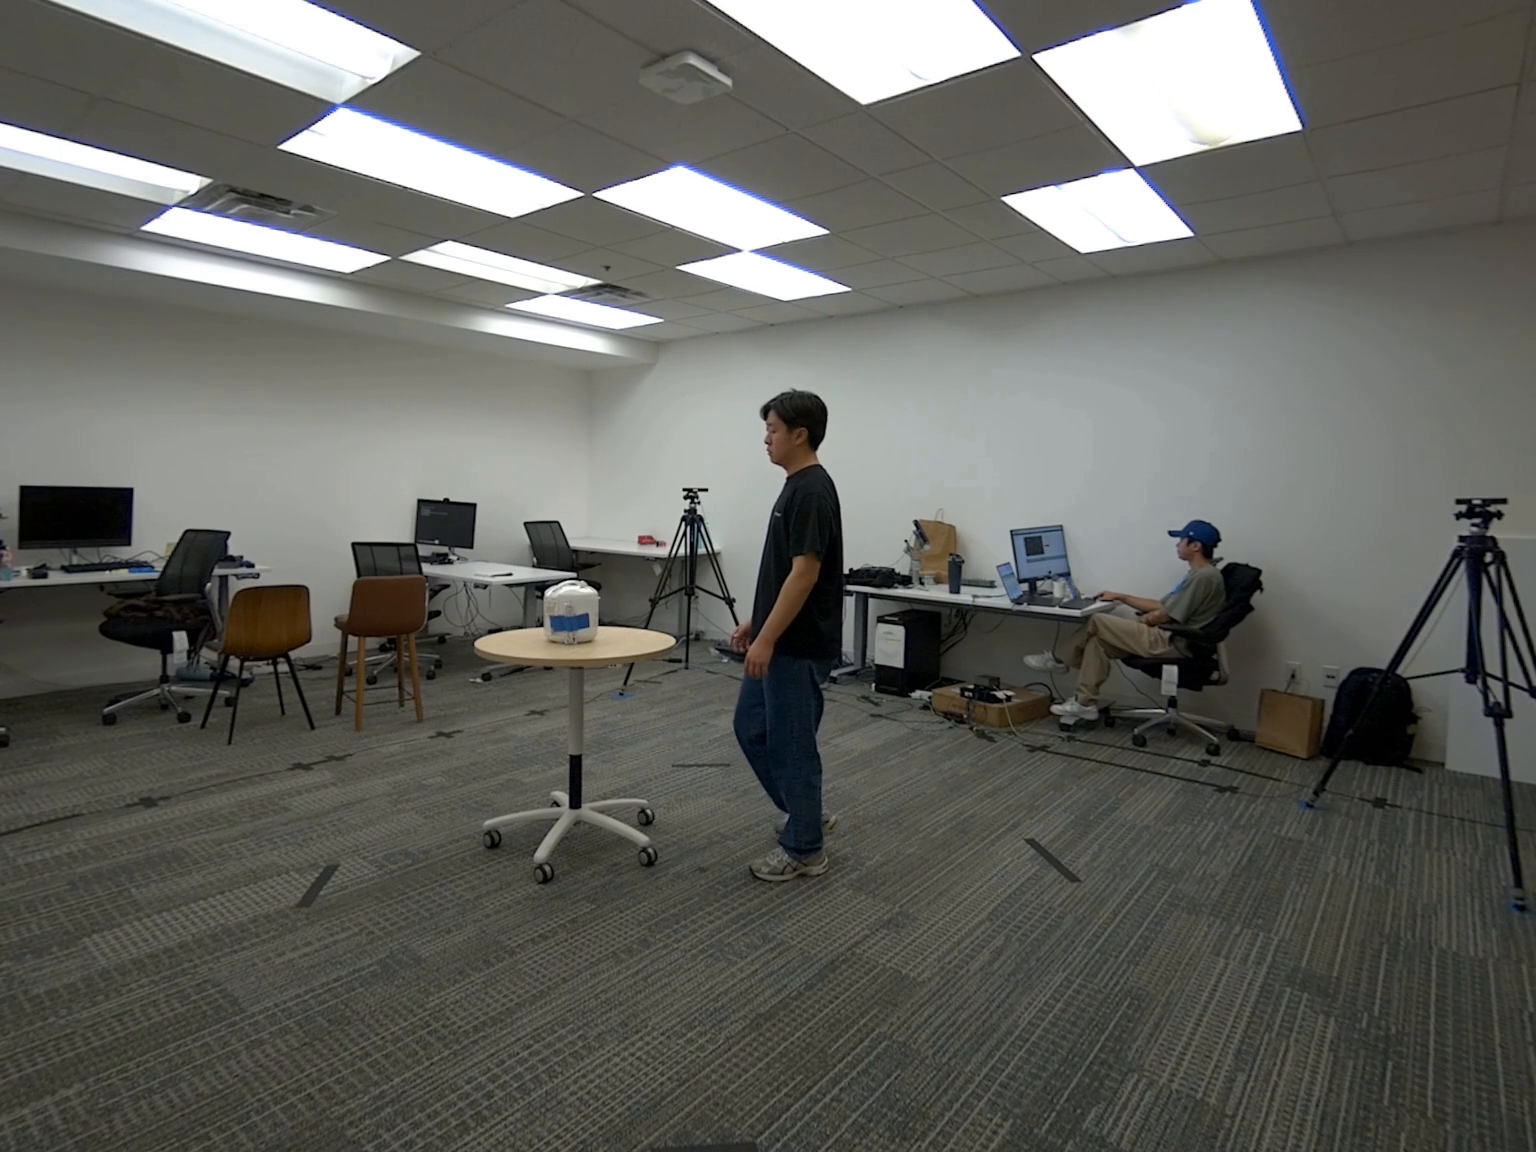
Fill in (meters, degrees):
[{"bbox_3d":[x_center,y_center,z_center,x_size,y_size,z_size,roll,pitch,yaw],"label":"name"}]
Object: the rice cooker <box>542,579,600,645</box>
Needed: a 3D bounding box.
[{"bbox_3d":[-0.779,0.131,3.308,0.225,0.232,0.214,5,5,36],"label":"rice cooker"}]
